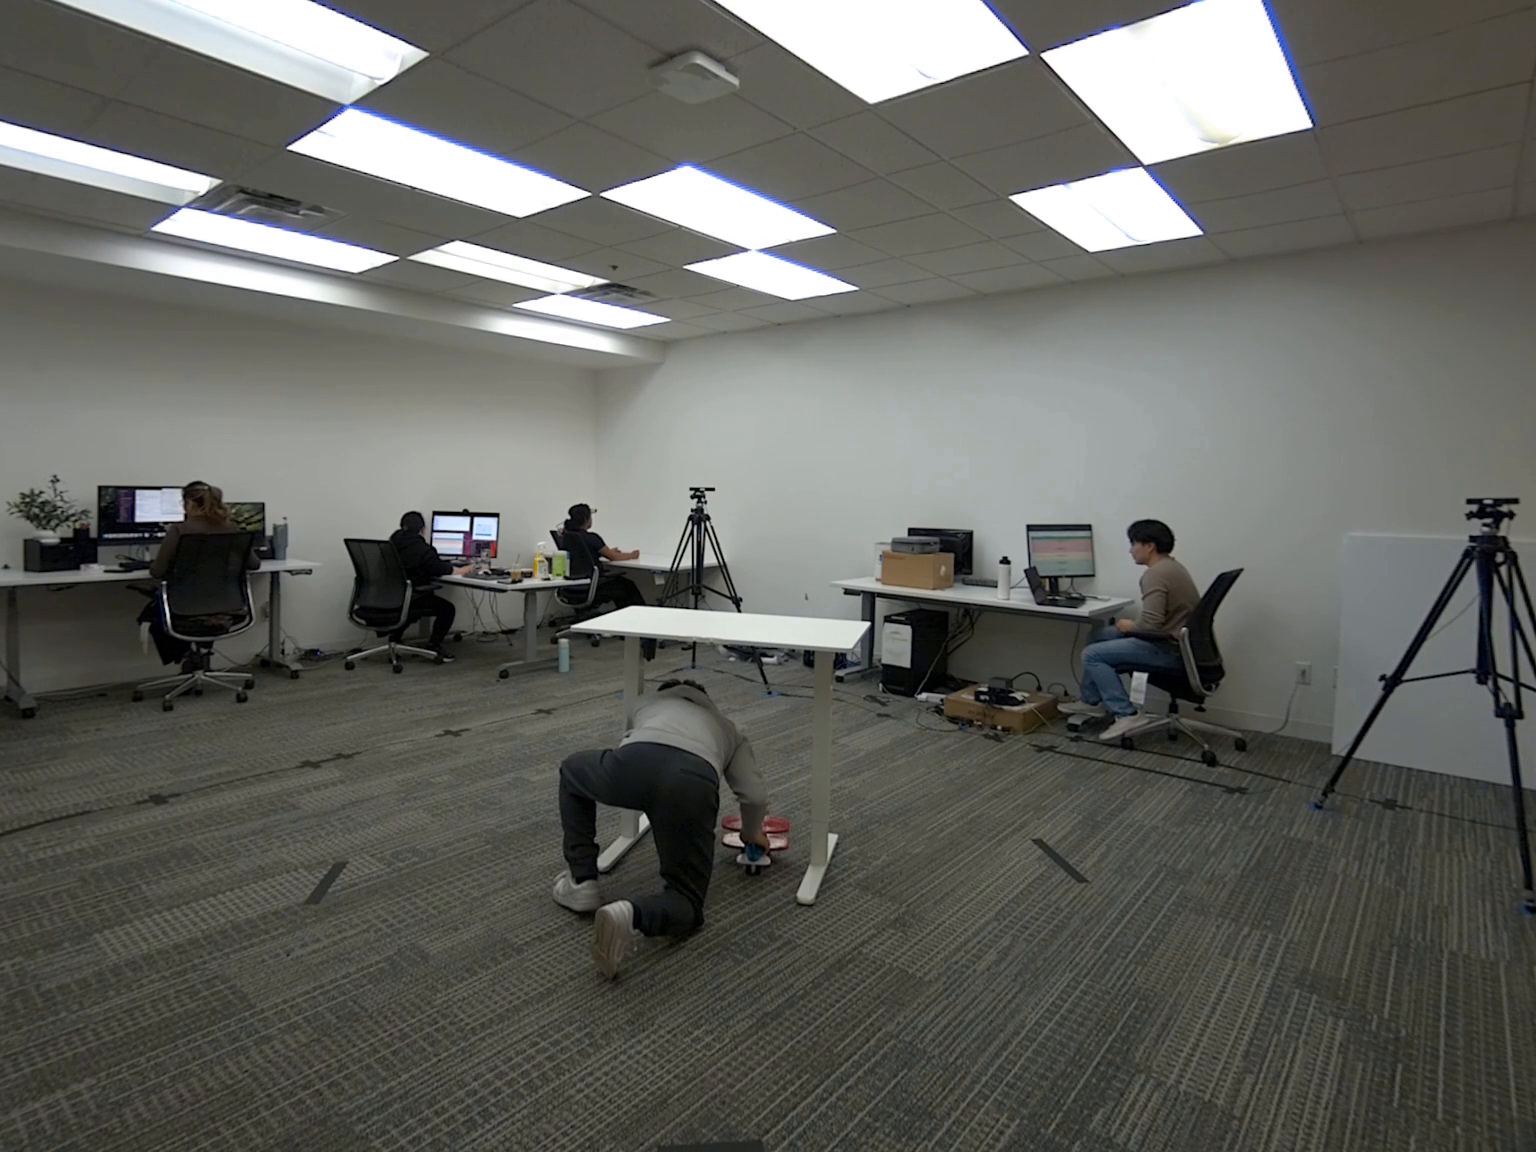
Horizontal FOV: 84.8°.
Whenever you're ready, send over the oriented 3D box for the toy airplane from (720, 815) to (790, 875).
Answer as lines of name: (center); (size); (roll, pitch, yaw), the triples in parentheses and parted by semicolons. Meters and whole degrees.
toy airplane: (-0.033, 0.995, 3.162); (0.245, 0.156, 0.266); (-2, 4, -26)
